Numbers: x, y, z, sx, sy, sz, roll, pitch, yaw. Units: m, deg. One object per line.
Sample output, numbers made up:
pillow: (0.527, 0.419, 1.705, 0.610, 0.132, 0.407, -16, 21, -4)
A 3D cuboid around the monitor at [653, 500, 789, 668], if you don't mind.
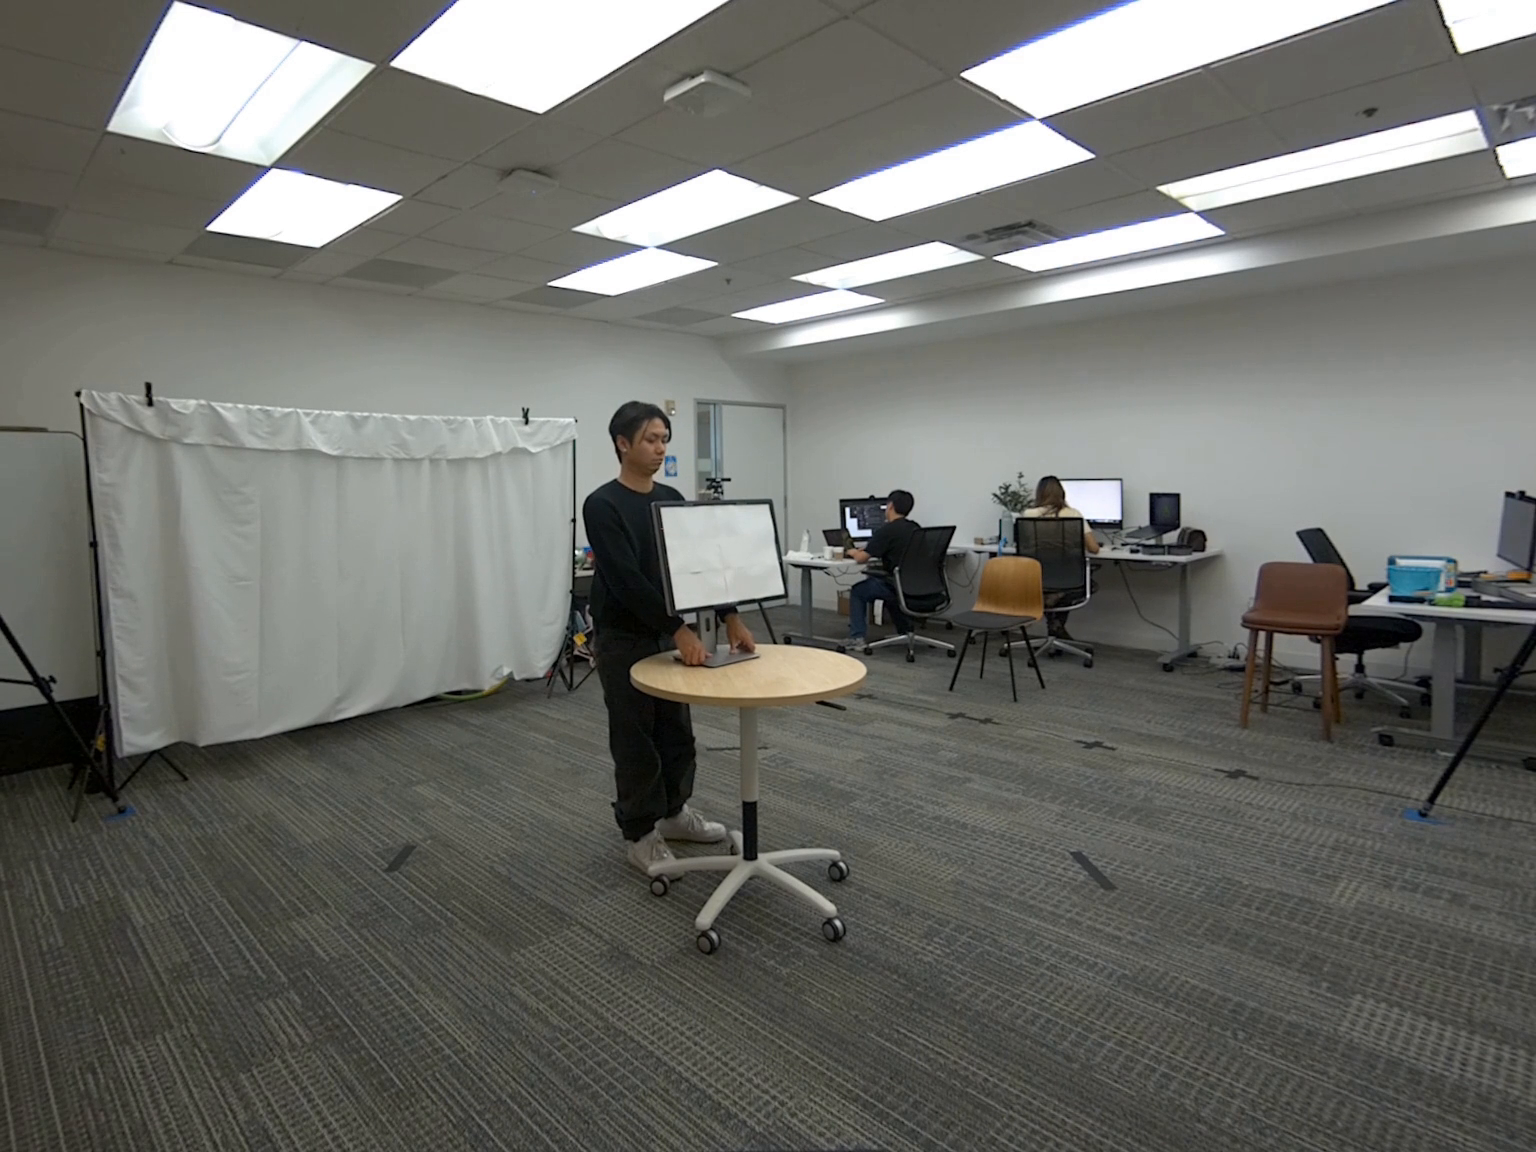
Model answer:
monitor: (-0.173, 0.012, 2.912, 0.193, 0.520, 0.525, 4, 7, 43)
